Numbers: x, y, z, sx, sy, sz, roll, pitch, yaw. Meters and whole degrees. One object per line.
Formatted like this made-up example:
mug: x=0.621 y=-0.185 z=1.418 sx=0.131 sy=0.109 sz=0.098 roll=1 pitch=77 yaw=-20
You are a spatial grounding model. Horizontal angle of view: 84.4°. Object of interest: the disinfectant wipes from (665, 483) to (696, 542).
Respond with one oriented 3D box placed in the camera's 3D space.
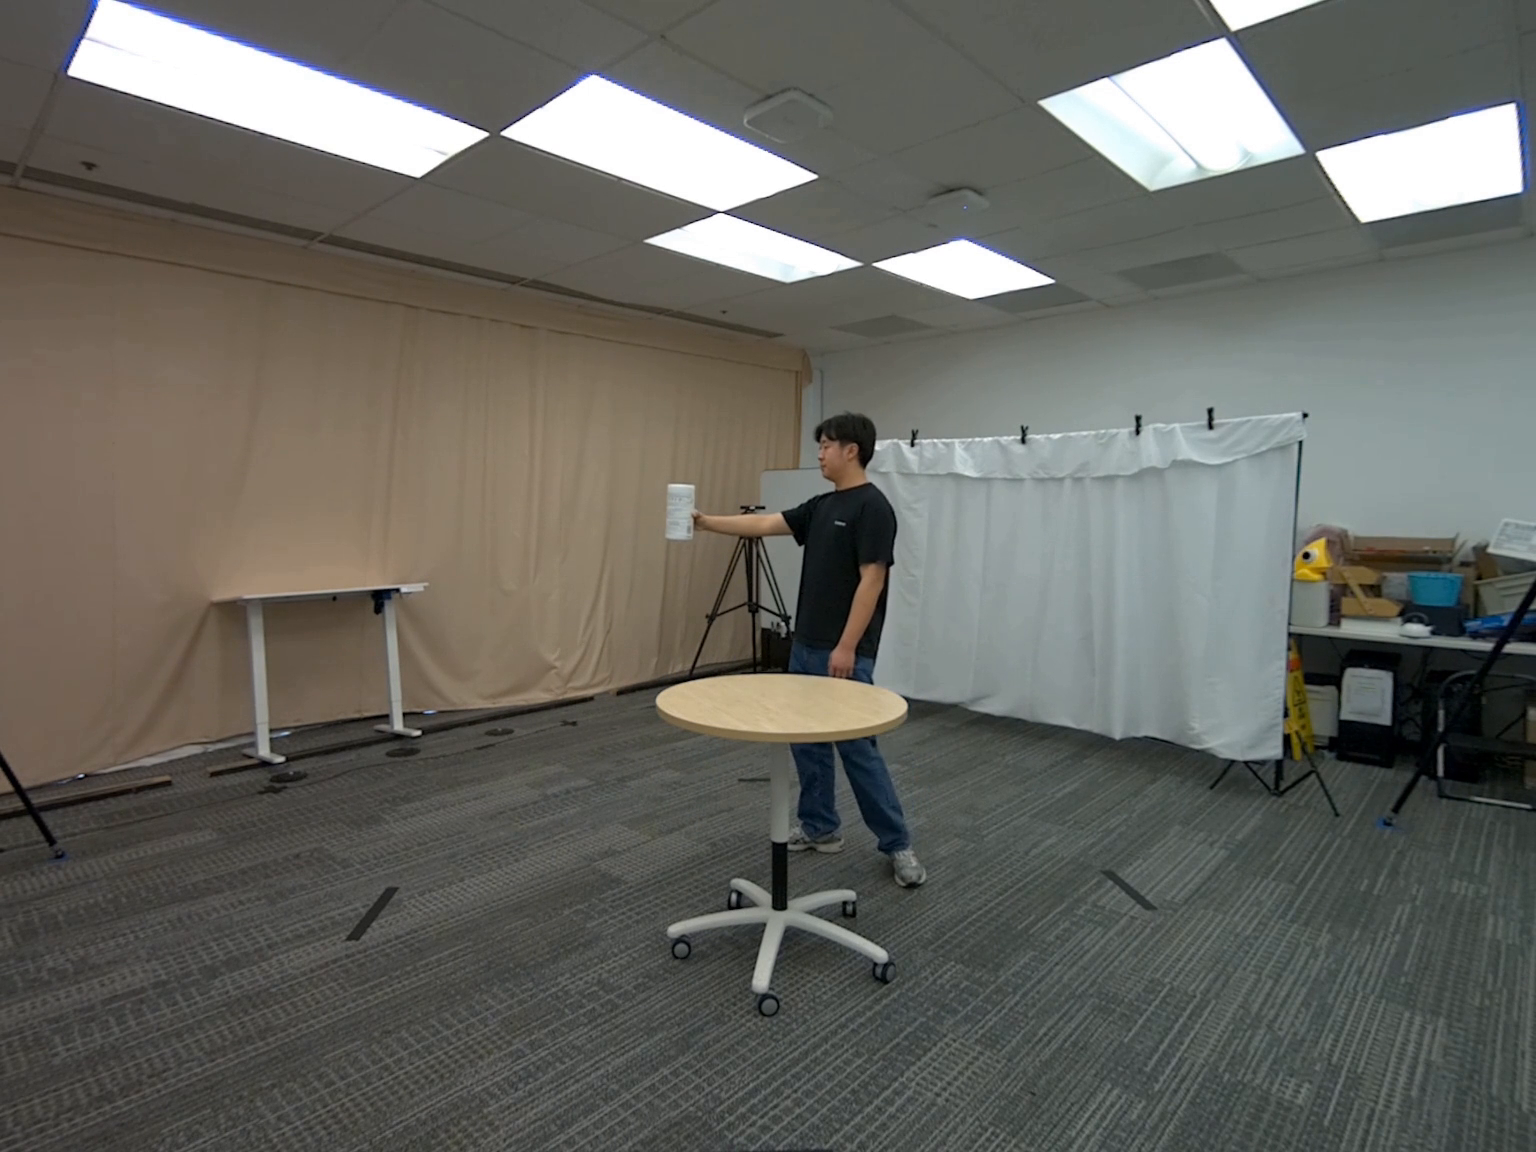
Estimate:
disinfectant wipes: x=-0.340 y=-0.251 z=3.302 sx=0.117 sy=0.216 sz=0.118 roll=2 pitch=7 yaw=-2
